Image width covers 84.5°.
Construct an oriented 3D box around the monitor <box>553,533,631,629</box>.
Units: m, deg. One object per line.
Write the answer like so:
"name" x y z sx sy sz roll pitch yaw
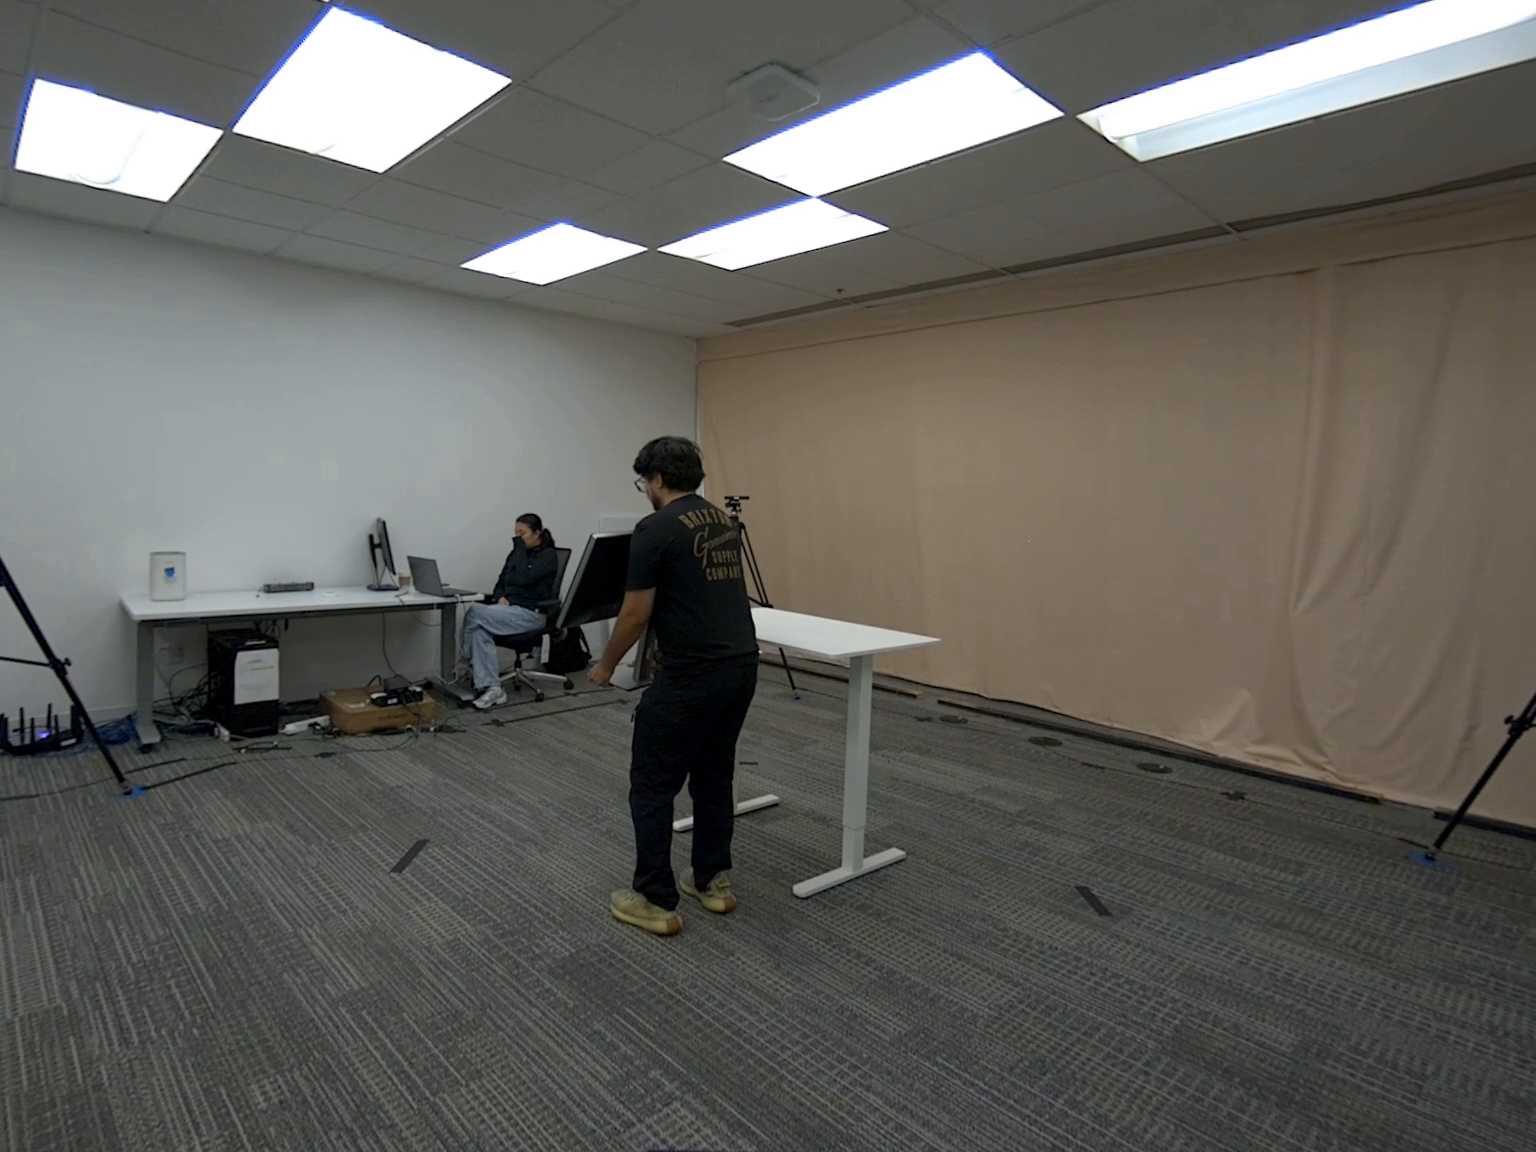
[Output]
"monitor" -0.440 0.105 2.913 0.216 0.549 0.555 31 22 28
